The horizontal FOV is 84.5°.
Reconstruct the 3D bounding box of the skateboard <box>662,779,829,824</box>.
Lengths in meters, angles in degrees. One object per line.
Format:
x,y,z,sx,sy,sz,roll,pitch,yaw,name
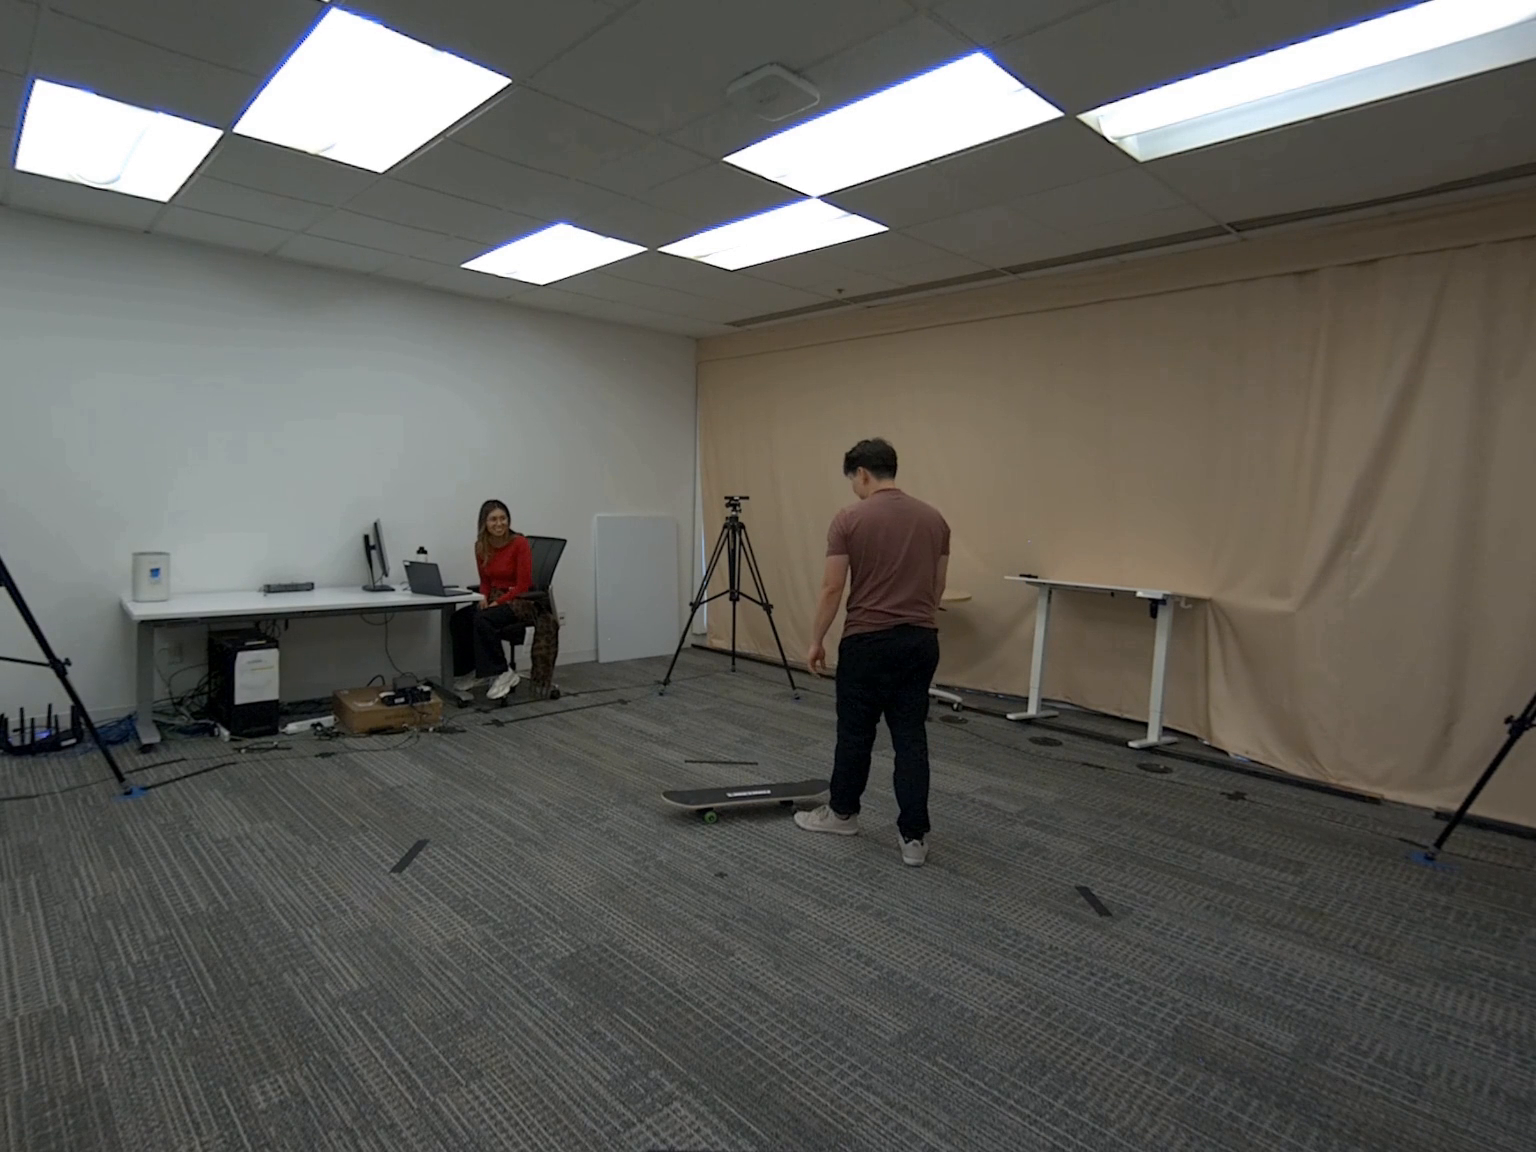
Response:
-0.091,0.994,3.736,0.775,0.110,0.196,0,5,-17,skateboard
